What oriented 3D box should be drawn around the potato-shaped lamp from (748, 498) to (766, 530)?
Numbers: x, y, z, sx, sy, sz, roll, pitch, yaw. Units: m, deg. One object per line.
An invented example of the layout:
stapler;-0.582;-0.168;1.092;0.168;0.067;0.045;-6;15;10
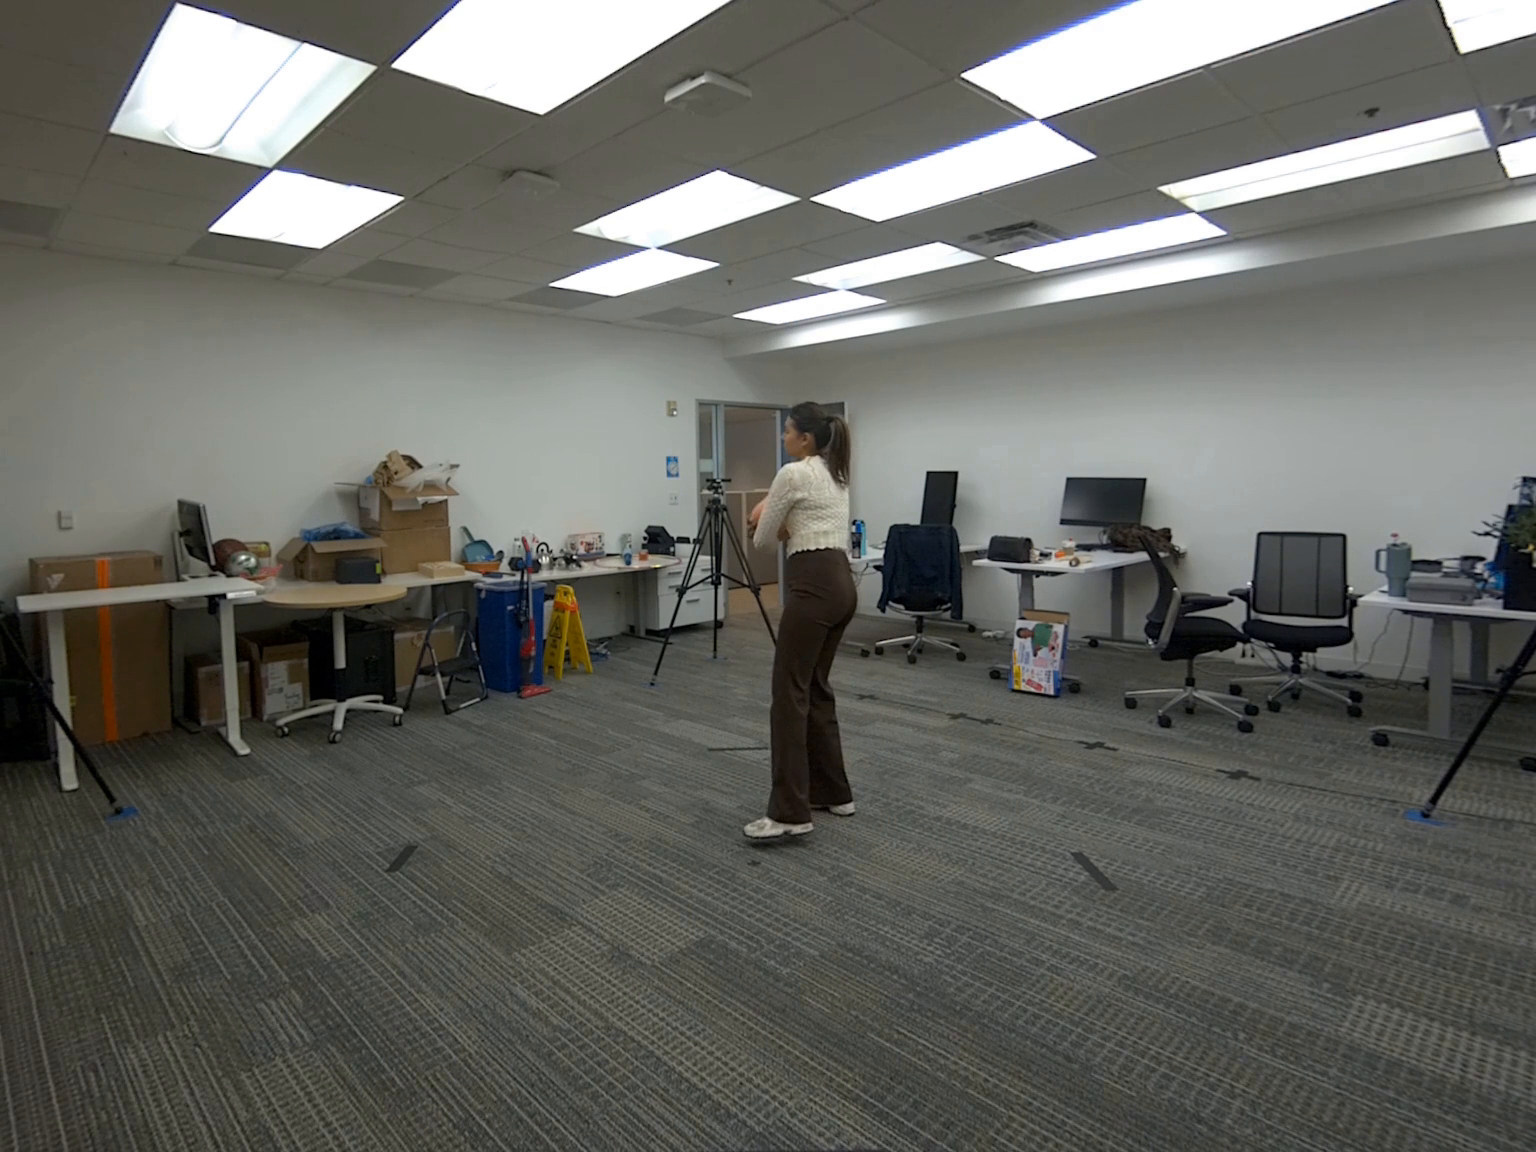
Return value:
potato-shaped lamp;0.029;-0.275;3.744;0.168;0.201;0.165;-11;-45;34
